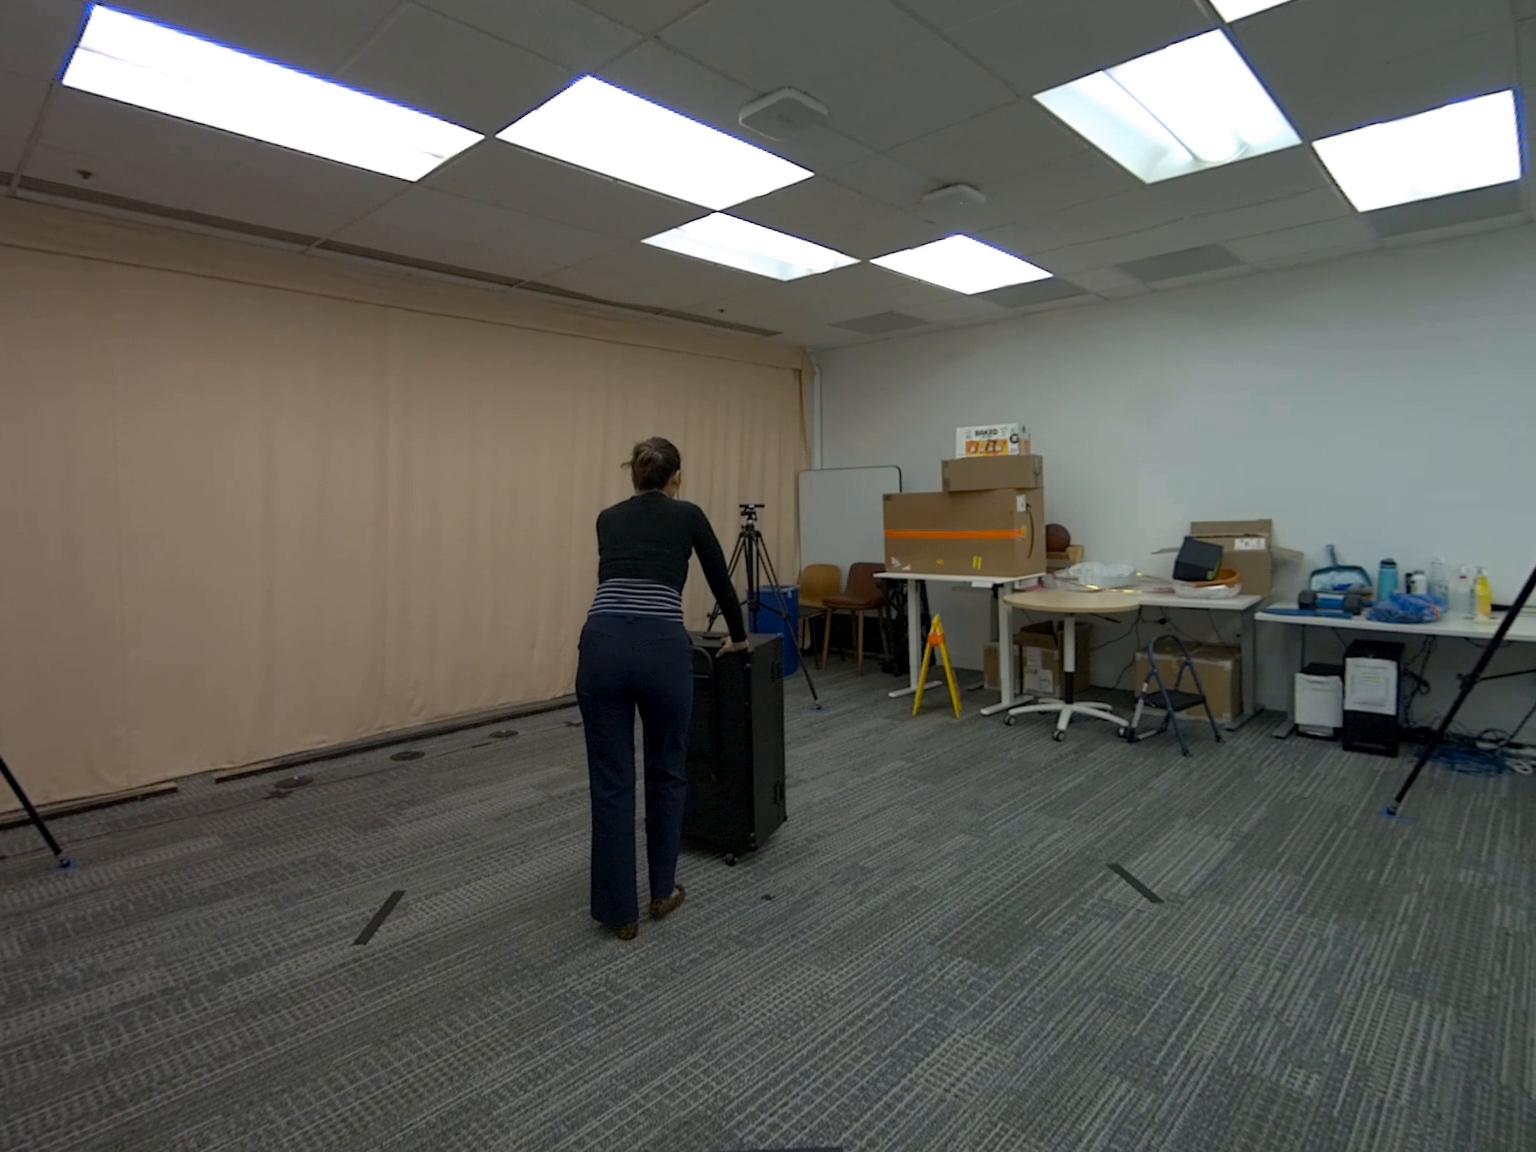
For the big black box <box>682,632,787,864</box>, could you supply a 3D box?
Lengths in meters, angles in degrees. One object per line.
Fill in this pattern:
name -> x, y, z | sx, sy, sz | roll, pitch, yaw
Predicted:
big black box -> -0.209, 0.681, 3.435 | 0.534, 0.859, 0.388 | 1, 4, 23
